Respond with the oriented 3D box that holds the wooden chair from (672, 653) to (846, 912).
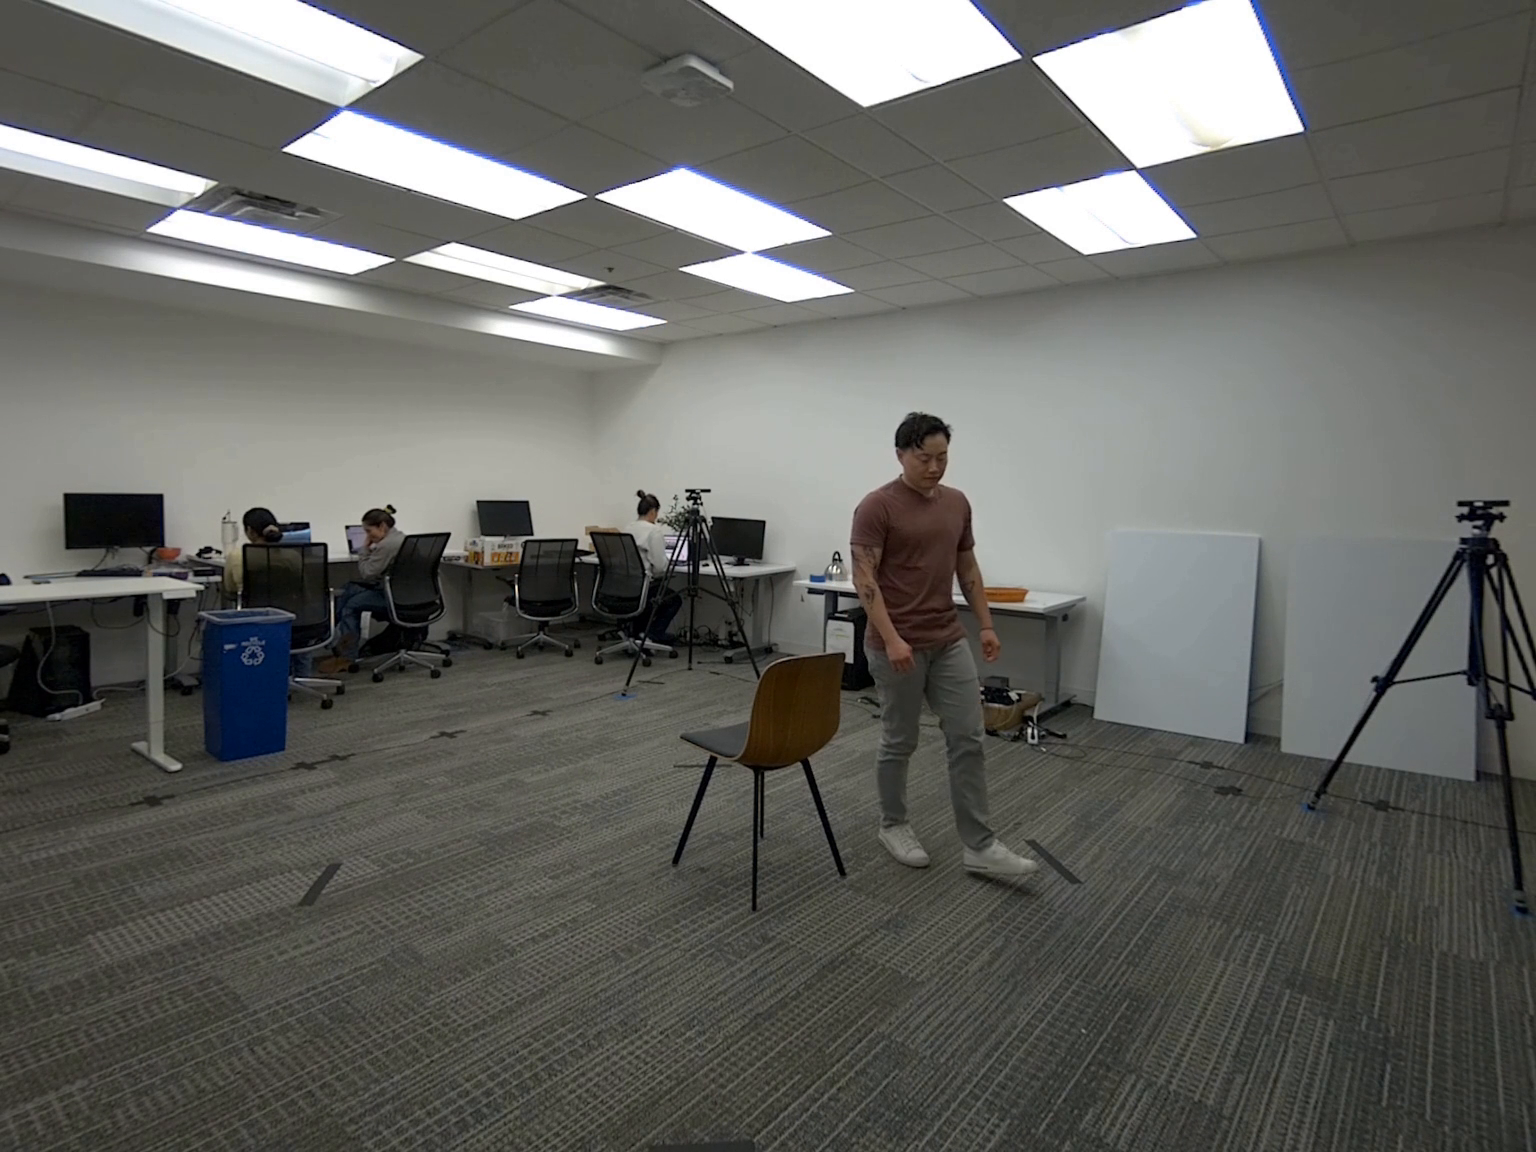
[{"bbox_3d":[-0.040,0.652,3.098,0.463,0.873,0.542,-1,8,-42],"label":"wooden chair"}]
